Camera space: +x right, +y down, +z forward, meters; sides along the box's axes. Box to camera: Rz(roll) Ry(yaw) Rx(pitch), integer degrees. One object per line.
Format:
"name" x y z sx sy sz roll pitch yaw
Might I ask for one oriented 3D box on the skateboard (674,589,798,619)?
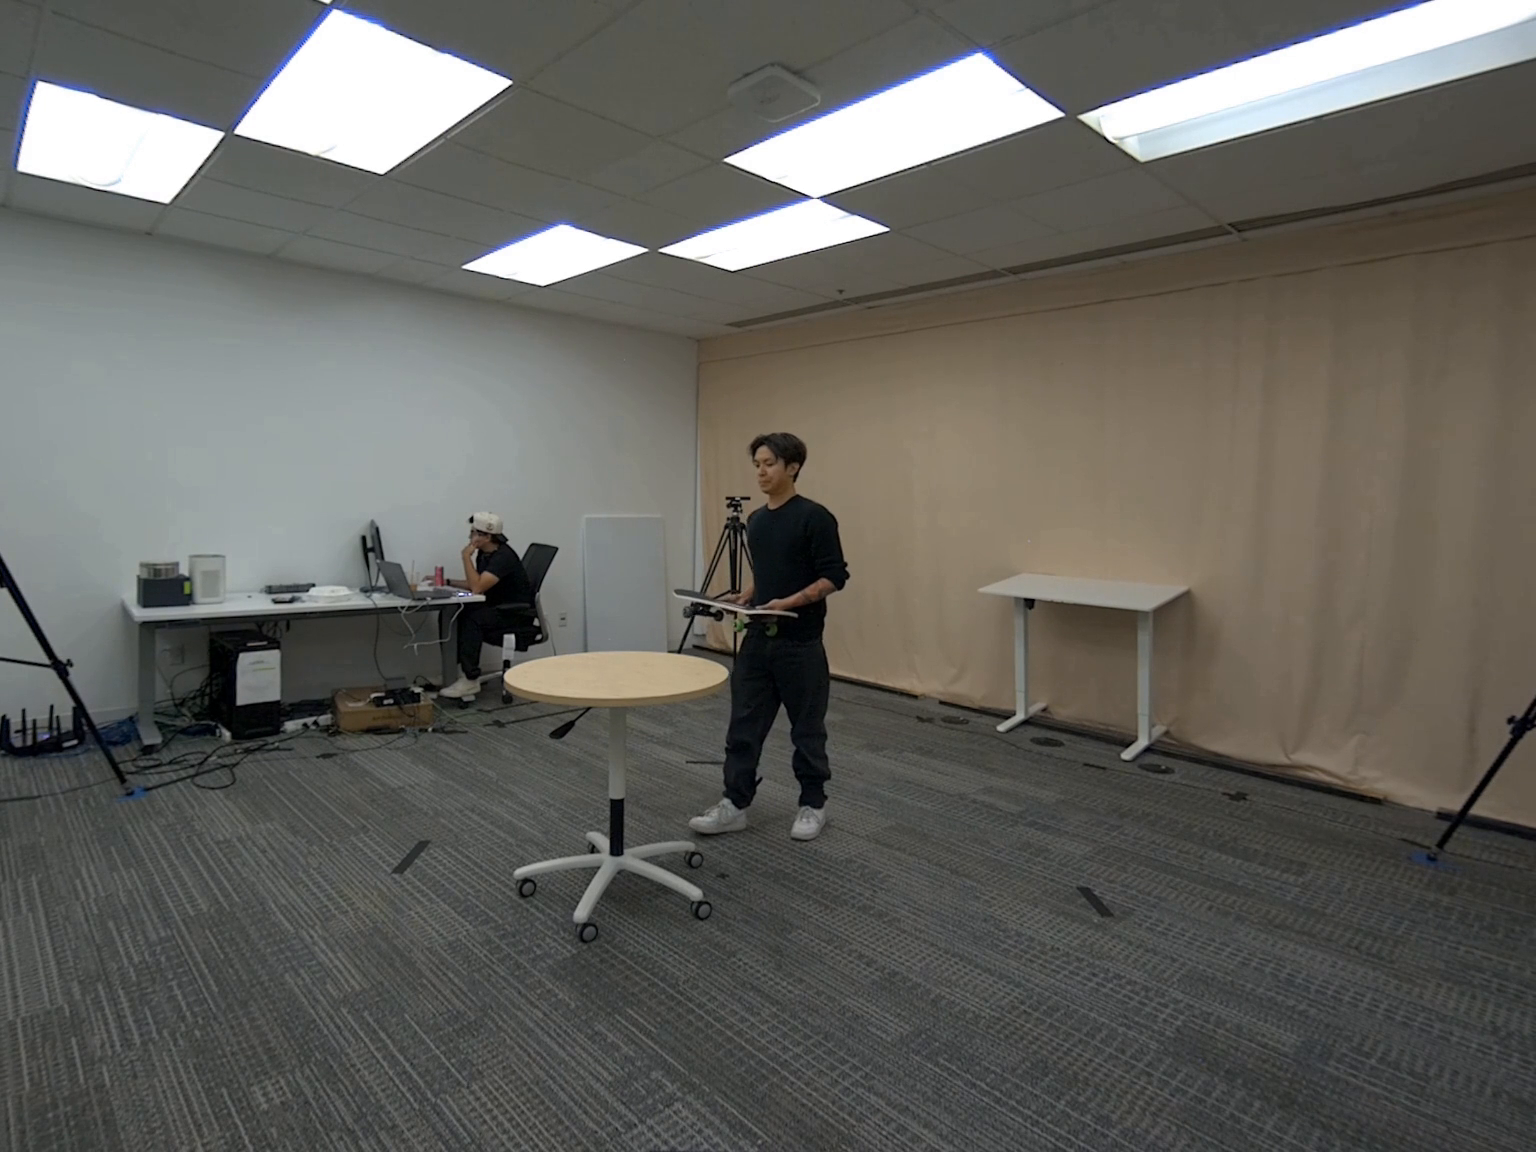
"skateboard" -0.171 0.152 3.385 0.188 0.110 0.805 11 -2 -36
